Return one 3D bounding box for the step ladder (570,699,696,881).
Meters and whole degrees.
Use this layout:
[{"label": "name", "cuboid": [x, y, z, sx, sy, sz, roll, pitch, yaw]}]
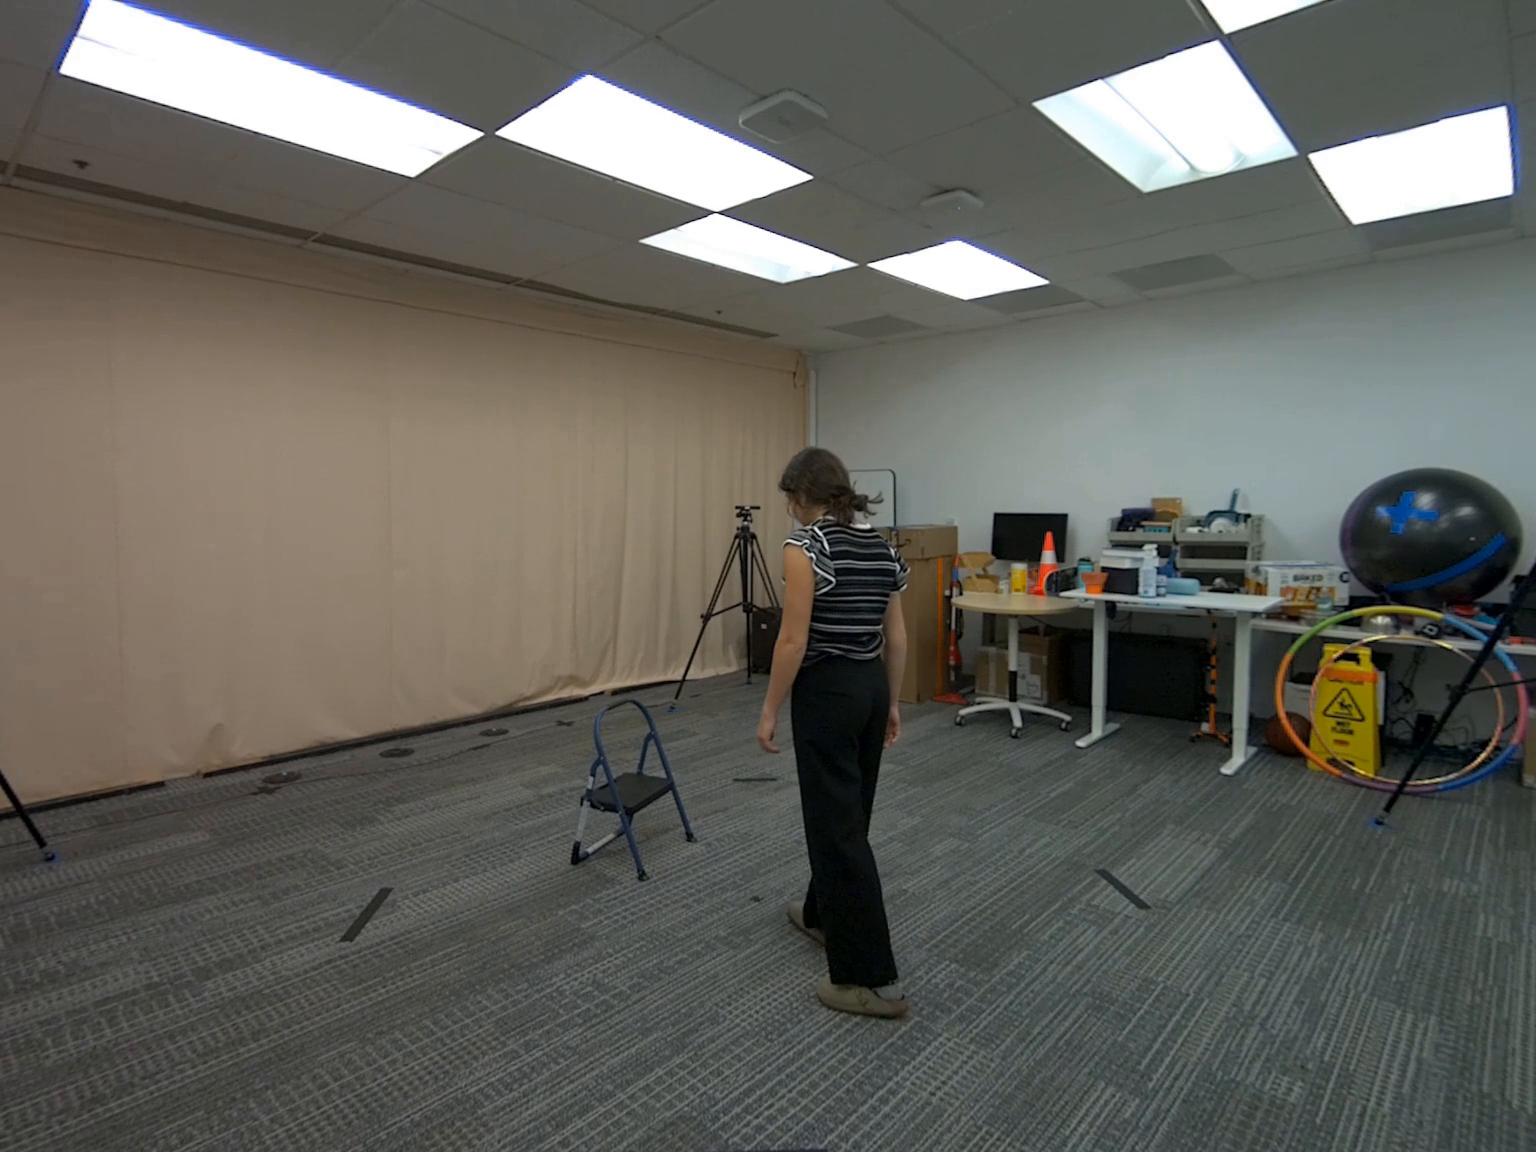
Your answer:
[{"label": "step ladder", "cuboid": [-0.536, 0.814, 3.382, 0.358, 0.605, 0.421, 1, 3, 23]}]
